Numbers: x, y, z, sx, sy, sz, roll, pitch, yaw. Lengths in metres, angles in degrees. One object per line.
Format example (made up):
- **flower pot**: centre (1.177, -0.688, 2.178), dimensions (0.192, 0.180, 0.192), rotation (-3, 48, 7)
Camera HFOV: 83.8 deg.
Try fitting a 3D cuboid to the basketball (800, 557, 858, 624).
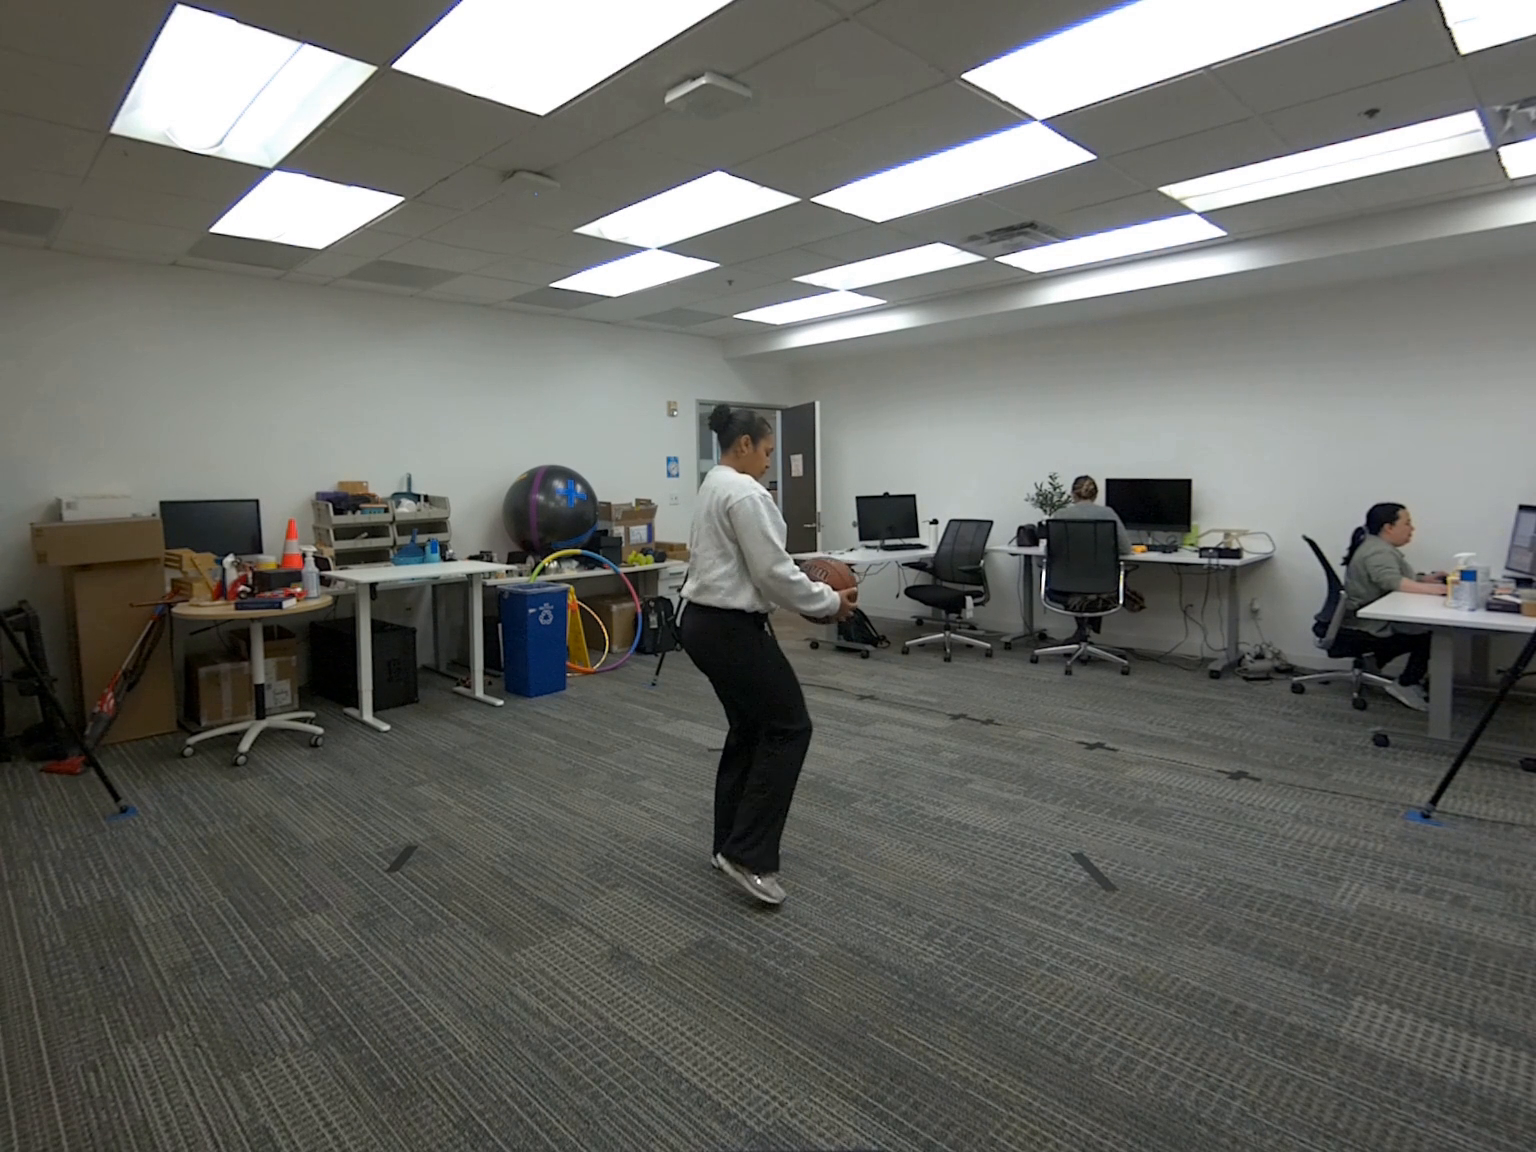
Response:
- **basketball**: centre (0.191, 0.041, 2.982), dimensions (0.236, 0.235, 0.237), rotation (-1, 5, -2)
